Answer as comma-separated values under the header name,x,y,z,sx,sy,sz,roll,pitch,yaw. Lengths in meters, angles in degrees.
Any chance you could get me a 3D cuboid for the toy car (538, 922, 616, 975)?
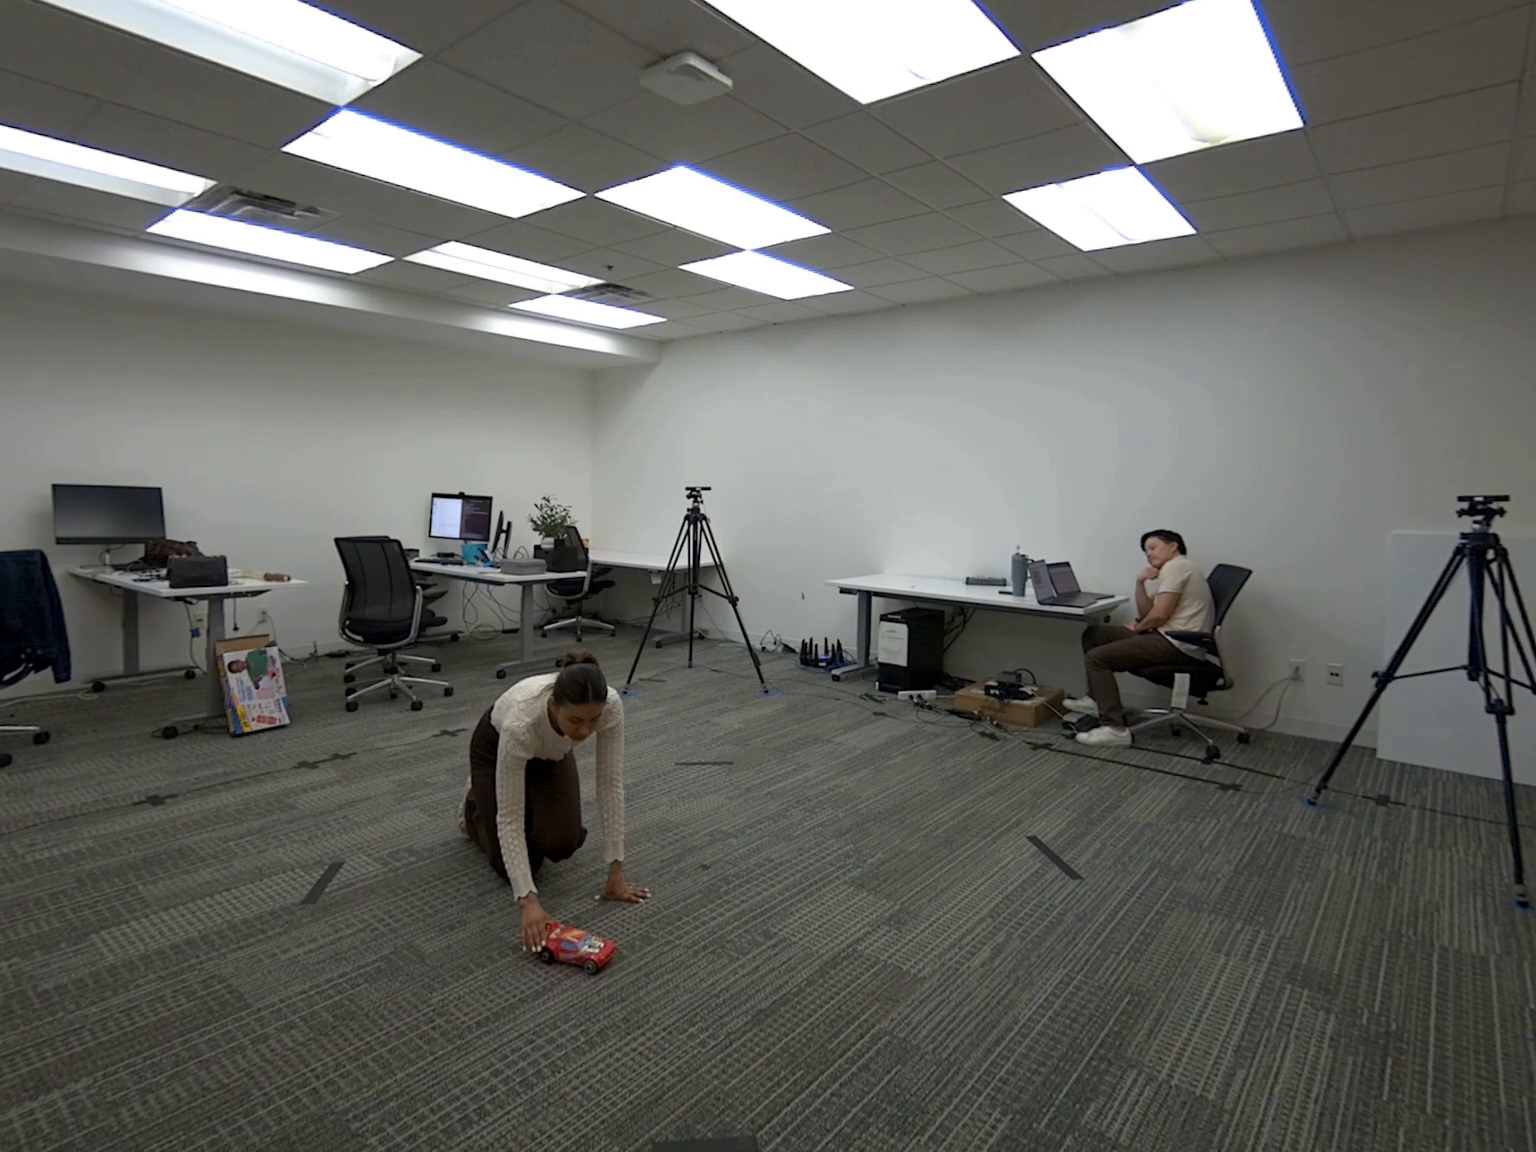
name,x,y,z,sx,sy,sz,roll,pitch,yaw
toy car,-0.587,1.092,2.499,0.260,0.083,0.128,13,9,19
